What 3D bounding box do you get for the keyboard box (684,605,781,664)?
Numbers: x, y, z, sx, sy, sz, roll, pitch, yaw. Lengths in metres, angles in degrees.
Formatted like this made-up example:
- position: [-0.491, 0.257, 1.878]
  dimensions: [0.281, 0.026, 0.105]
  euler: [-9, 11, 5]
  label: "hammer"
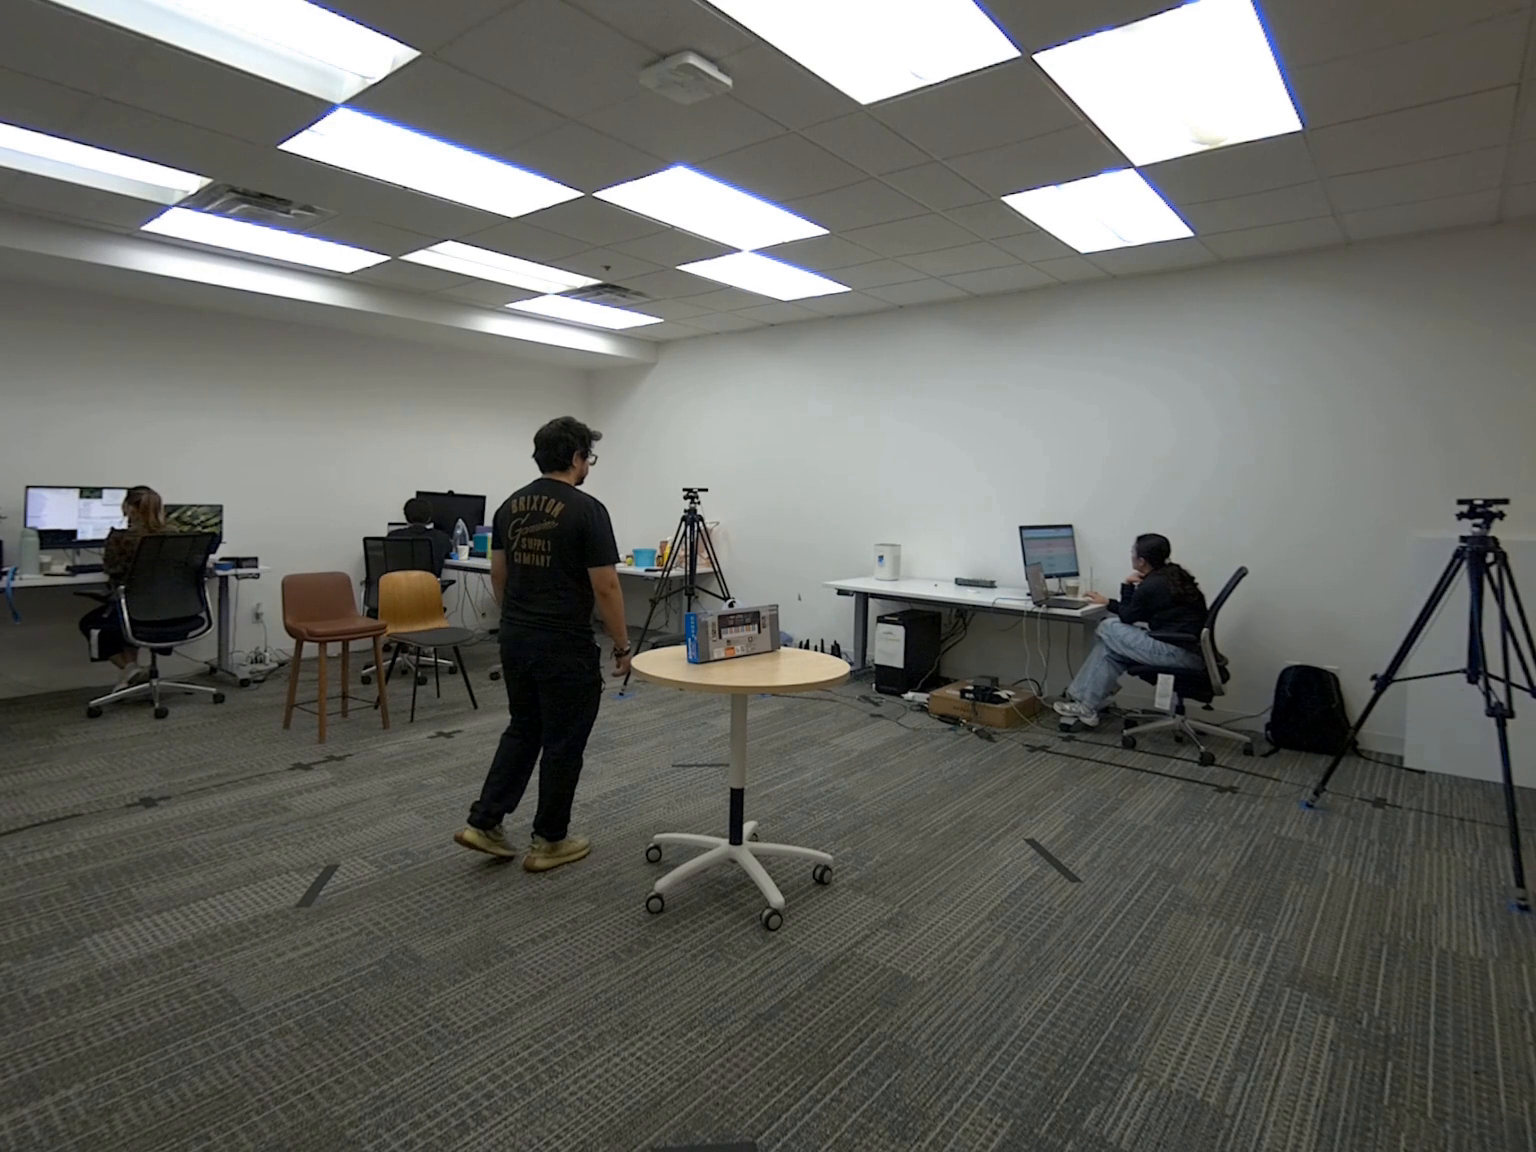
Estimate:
- position: [-0.128, 0.206, 3.089]
  dimensions: [0.061, 0.176, 0.424]
  euler: [-5, -1, 44]
  label: "keyboard box"
